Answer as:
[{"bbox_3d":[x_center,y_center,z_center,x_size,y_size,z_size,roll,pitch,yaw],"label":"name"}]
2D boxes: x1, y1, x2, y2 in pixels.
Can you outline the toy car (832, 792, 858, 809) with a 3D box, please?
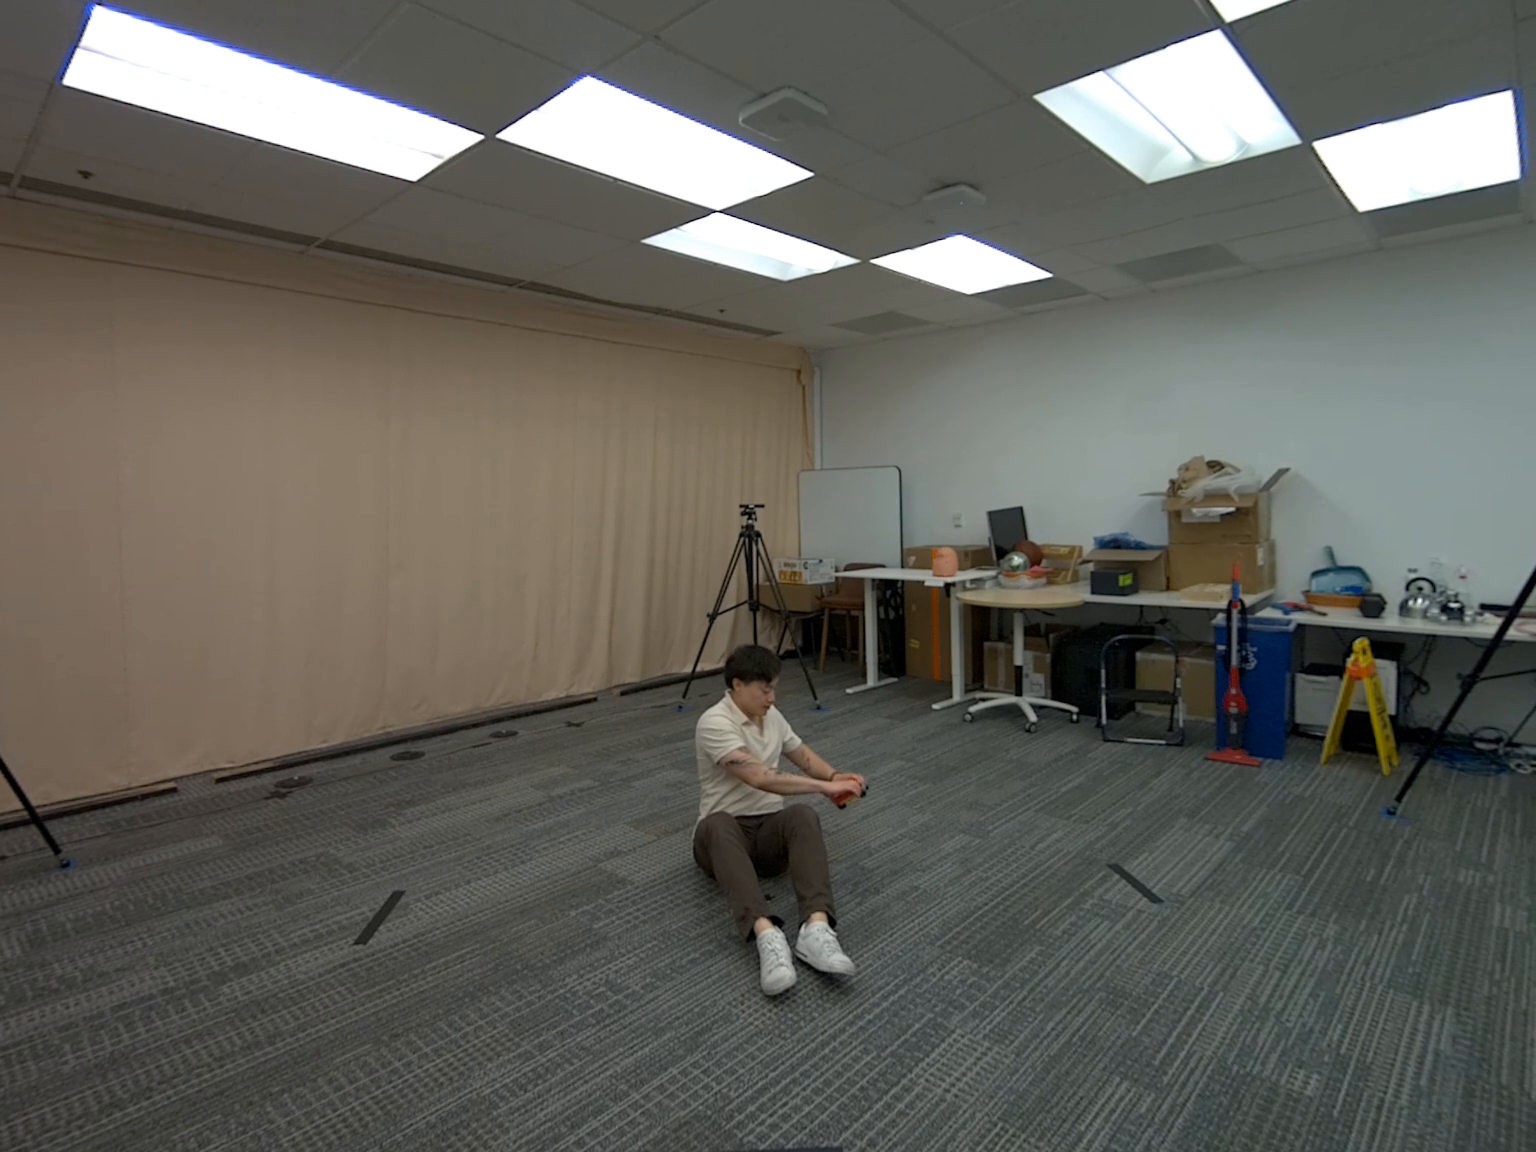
[{"bbox_3d":[0.306,0.831,3.189,0.131,0.085,0.248,-32,-21,8],"label":"toy car"}]
